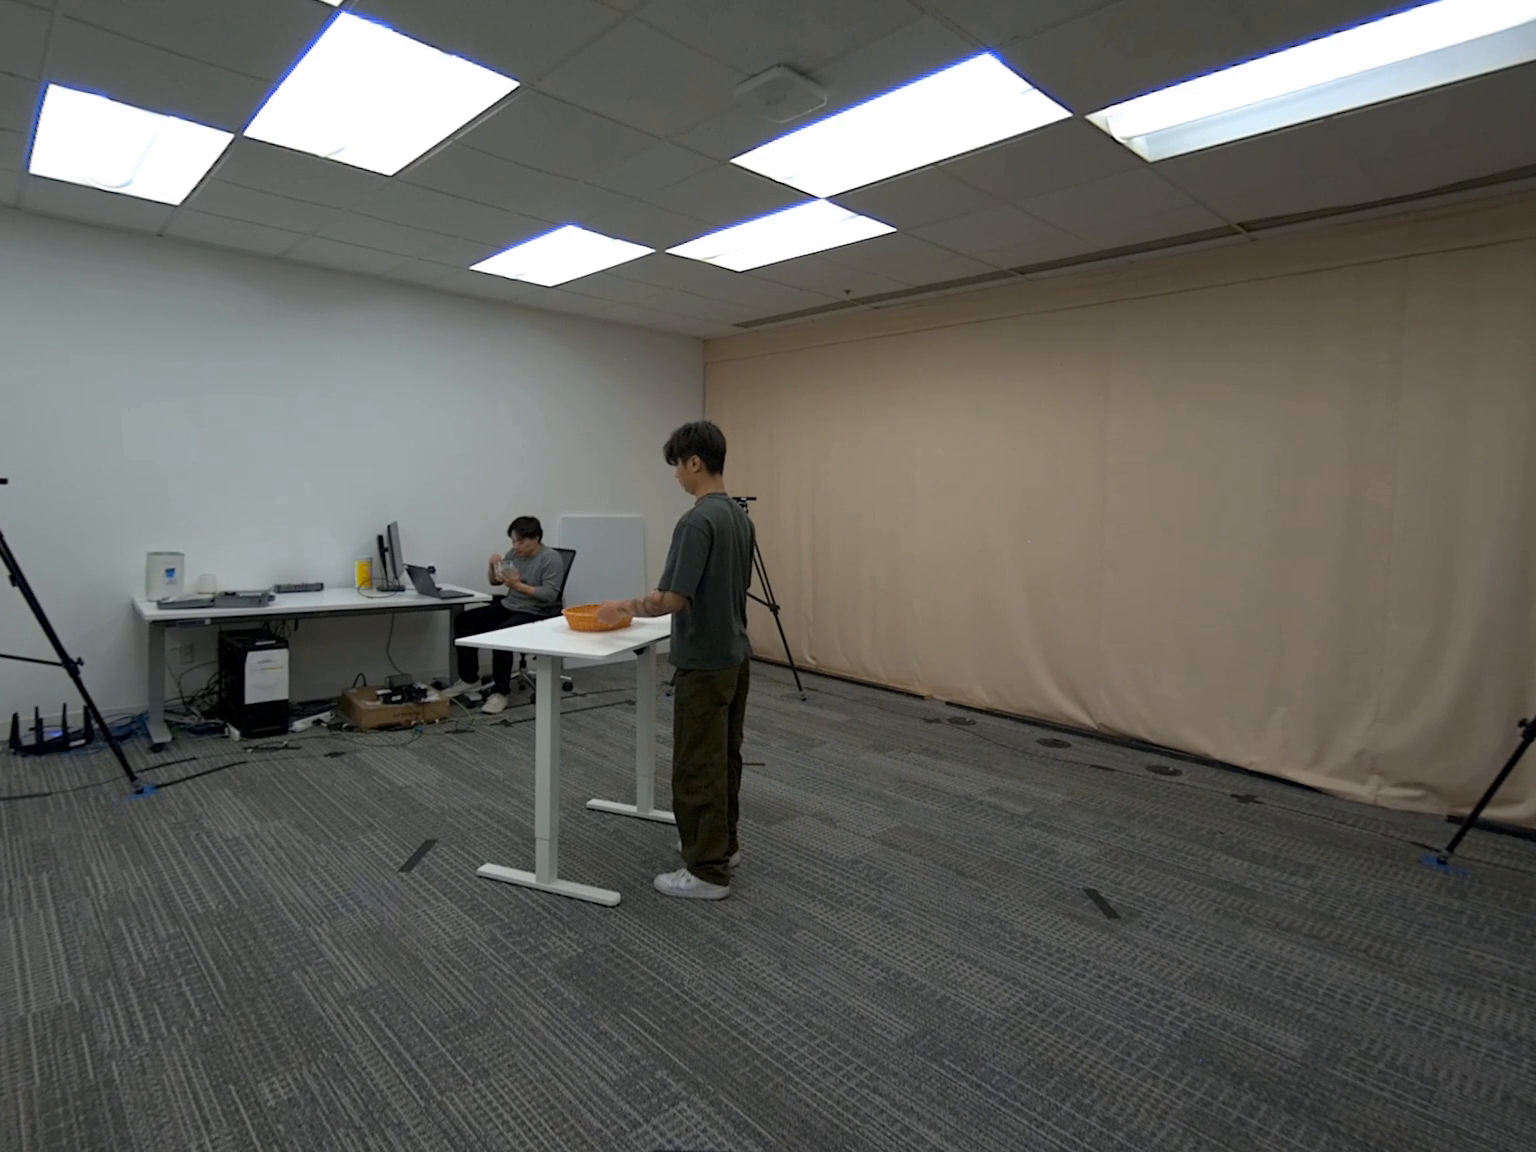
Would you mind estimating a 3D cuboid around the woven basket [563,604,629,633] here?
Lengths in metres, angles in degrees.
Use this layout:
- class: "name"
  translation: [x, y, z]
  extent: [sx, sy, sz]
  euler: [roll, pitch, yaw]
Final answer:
- class: "woven basket"
  translation: [-0.652, 0.164, 3.280]
  extent: [0.257, 0.073, 0.345]
  euler: [3, 6, 22]
